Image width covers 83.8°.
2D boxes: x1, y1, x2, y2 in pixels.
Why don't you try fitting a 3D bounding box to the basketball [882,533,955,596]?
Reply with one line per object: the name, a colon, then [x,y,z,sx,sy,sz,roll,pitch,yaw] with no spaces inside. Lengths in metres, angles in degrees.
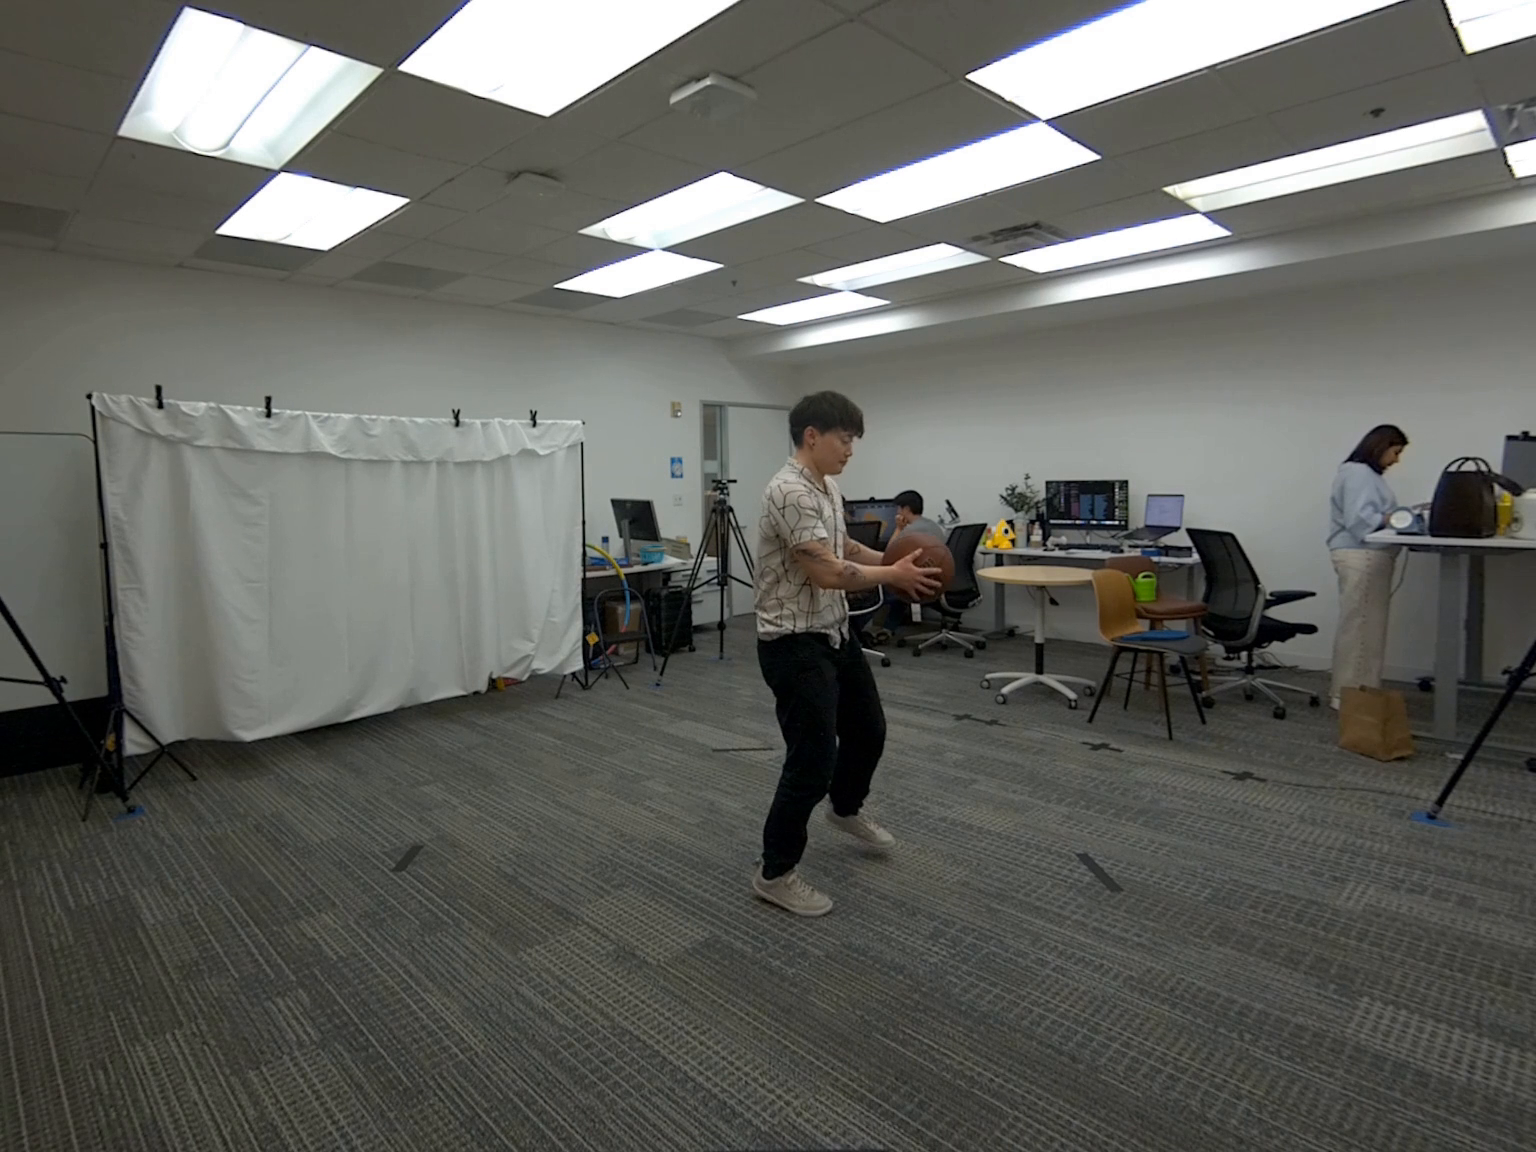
basketball: [0.489,-0.011,2.848,0.236,0.235,0.237,-1,5,-2]
